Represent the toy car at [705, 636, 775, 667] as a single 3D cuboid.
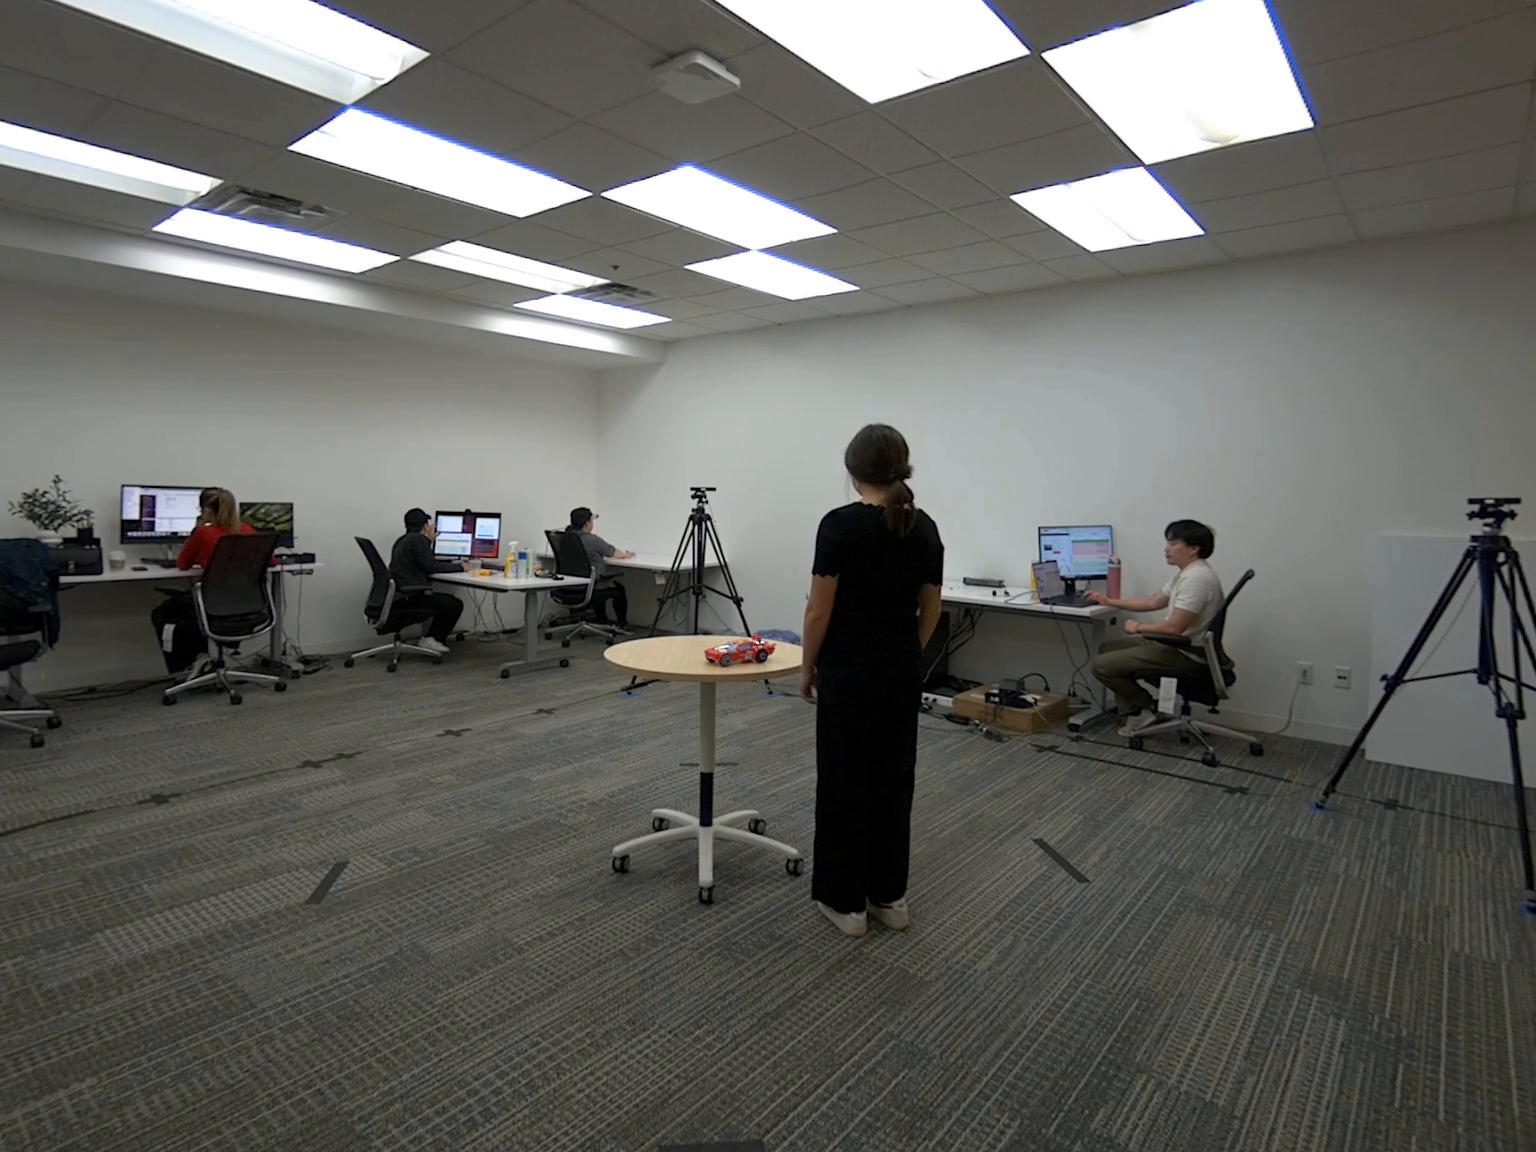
[{"bbox_3d":[-0.099,0.263,2.969,0.250,0.082,0.134,-16,12,-28],"label":"toy car"}]
